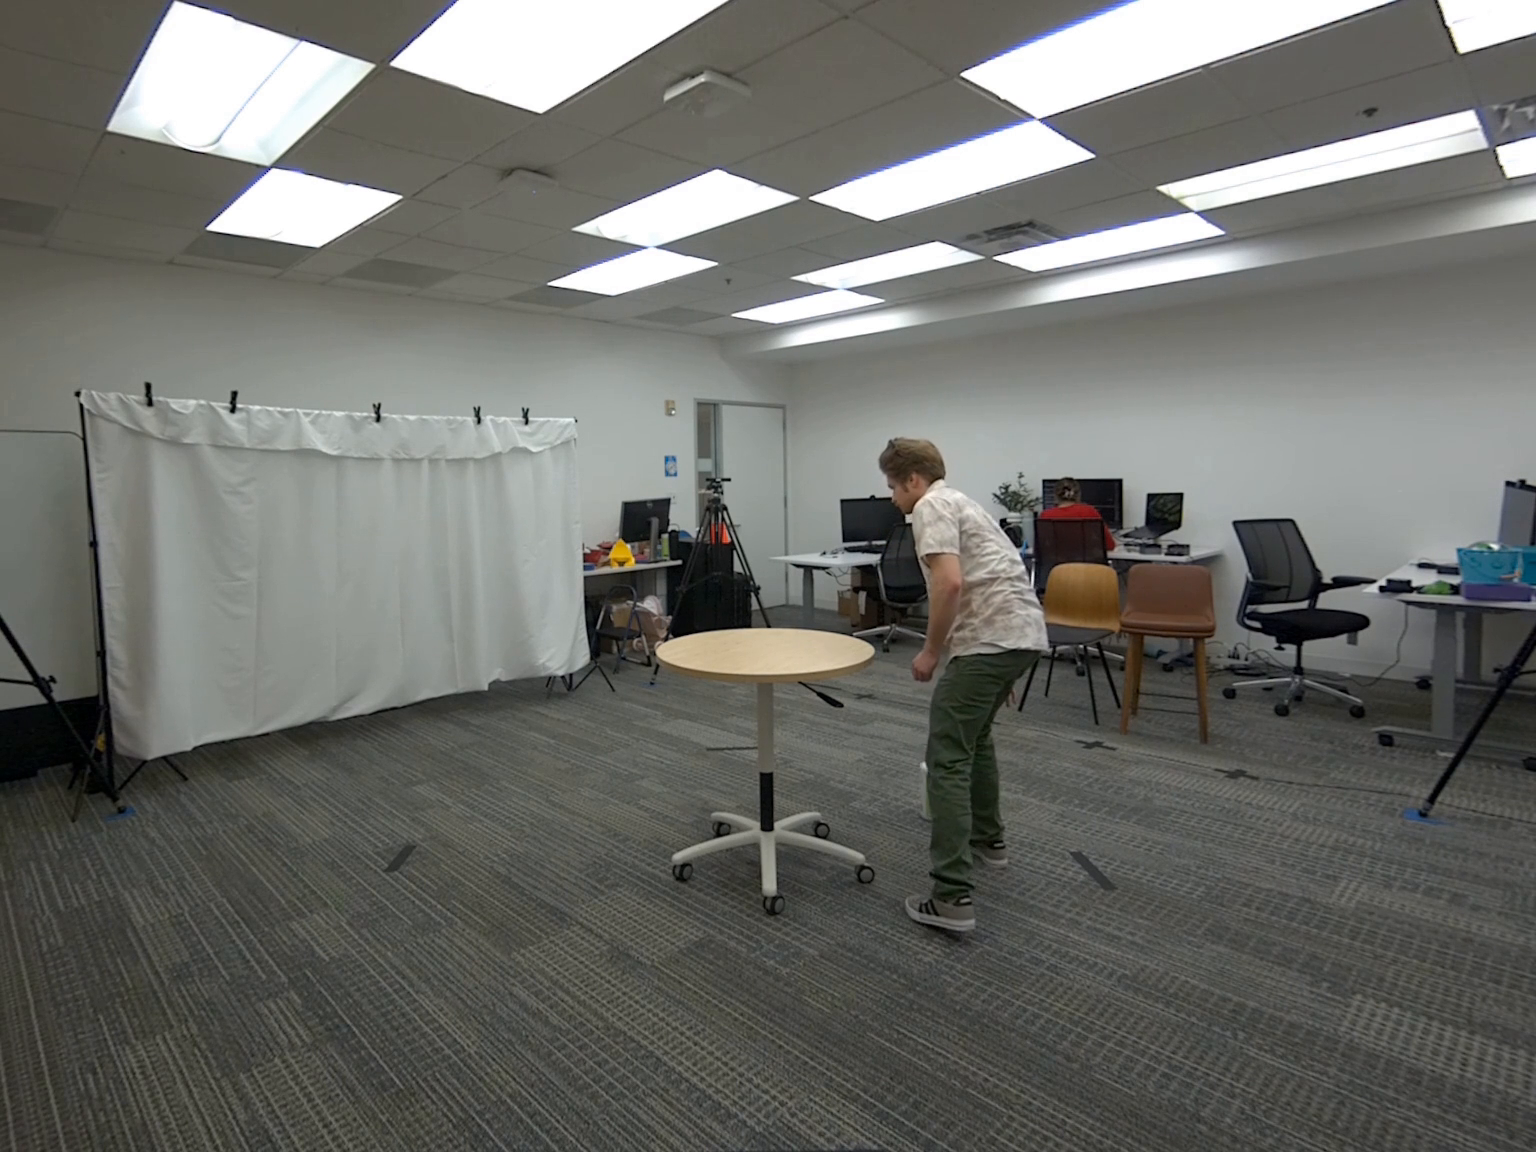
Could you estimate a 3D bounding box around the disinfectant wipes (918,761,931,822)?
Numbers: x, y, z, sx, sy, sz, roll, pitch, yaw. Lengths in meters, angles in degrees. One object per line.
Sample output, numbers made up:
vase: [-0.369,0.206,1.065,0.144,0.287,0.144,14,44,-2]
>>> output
disinfectant wipes: [0.689,0.878,3.495,0.118,0.217,0.118,-1,3,-2]
